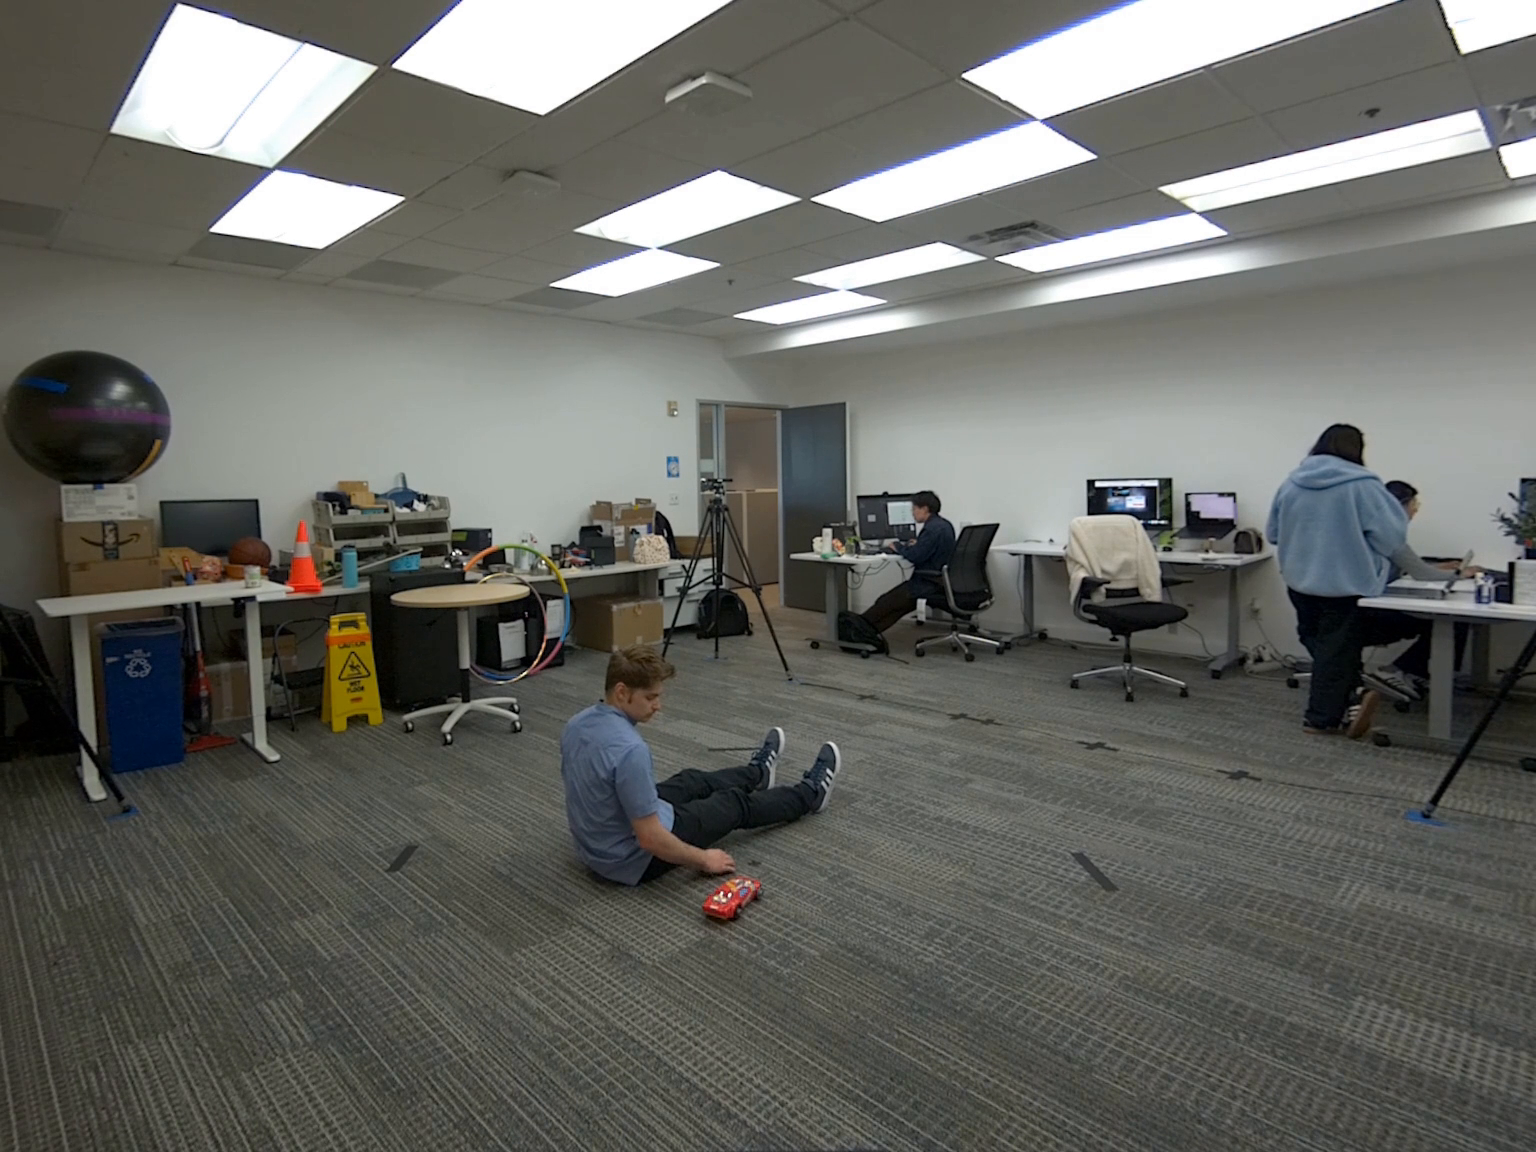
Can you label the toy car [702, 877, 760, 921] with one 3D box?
[{"bbox_3d":[-0.114,1.057,2.773,0.134,0.083,0.246,5,-4,31],"label":"toy car"}]
